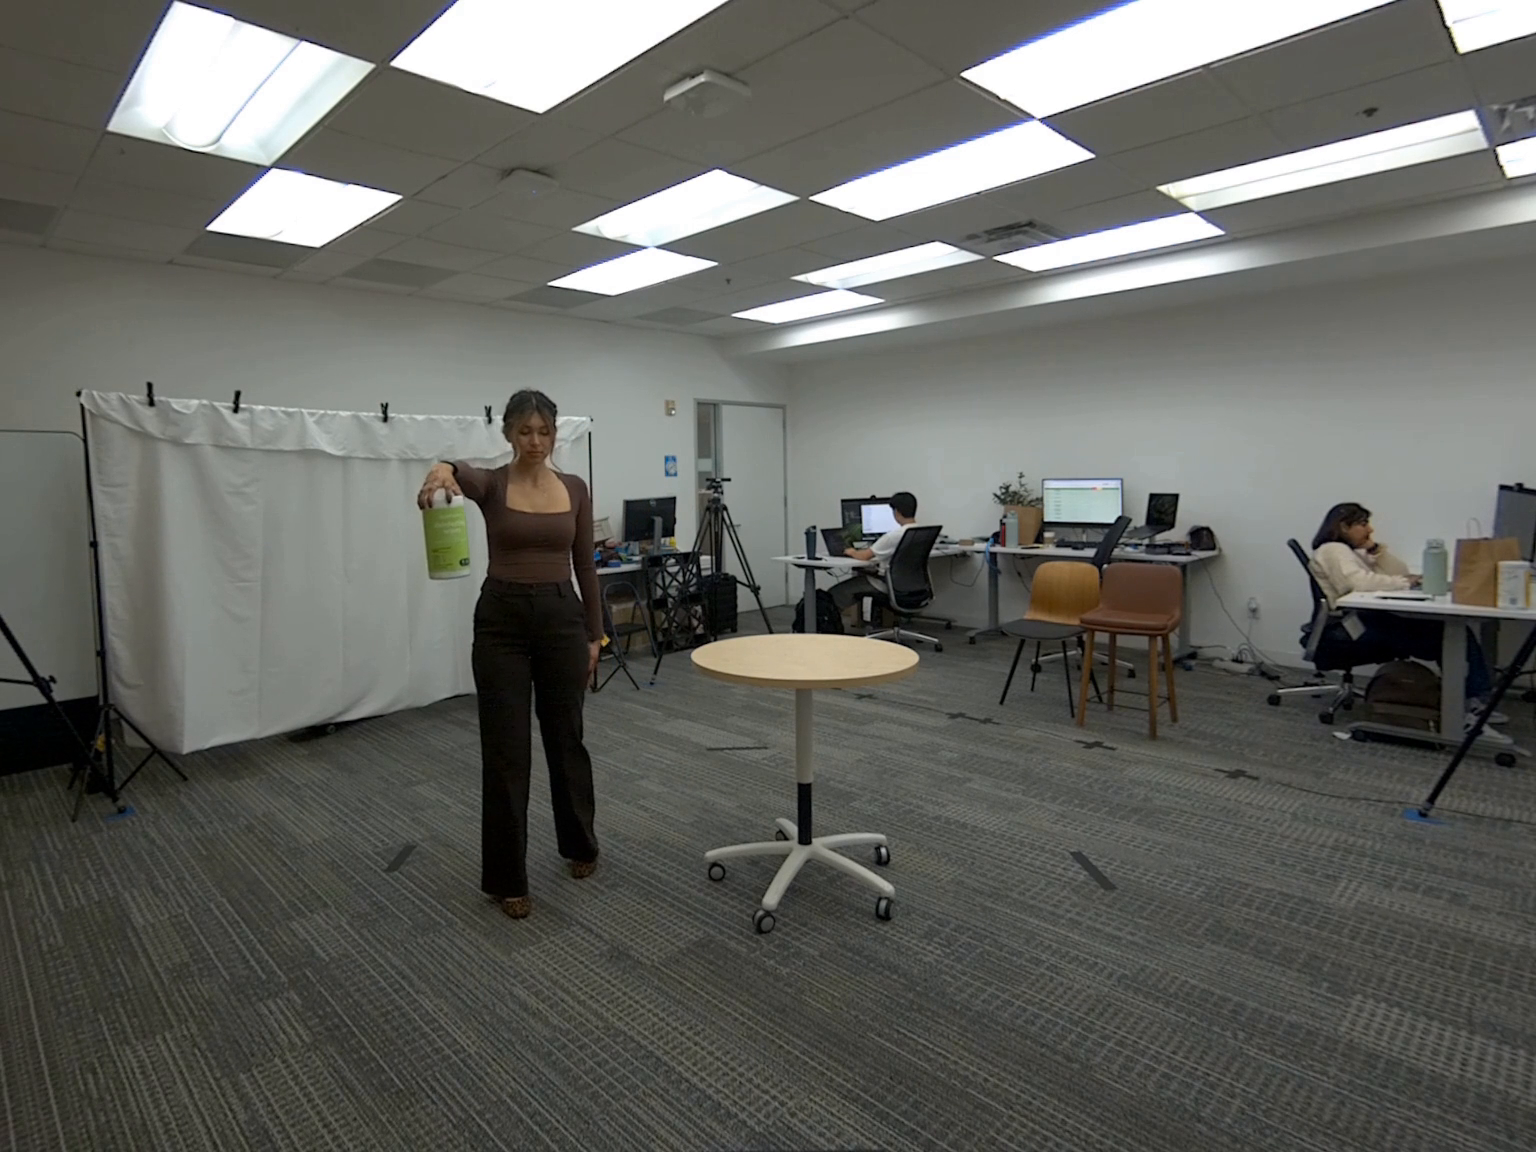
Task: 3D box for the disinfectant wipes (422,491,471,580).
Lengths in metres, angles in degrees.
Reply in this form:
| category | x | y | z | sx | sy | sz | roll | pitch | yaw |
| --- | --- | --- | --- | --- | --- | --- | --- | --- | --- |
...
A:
| category | x | y | z | sx | sy | sz | roll | pitch | yaw |
| --- | --- | --- | --- | --- | --- | --- | --- | --- | --- |
| disinfectant wipes | -0.859 | -0.101 | 2.266 | 0.118 | 0.216 | 0.118 | -3 | 6 | -1 |
